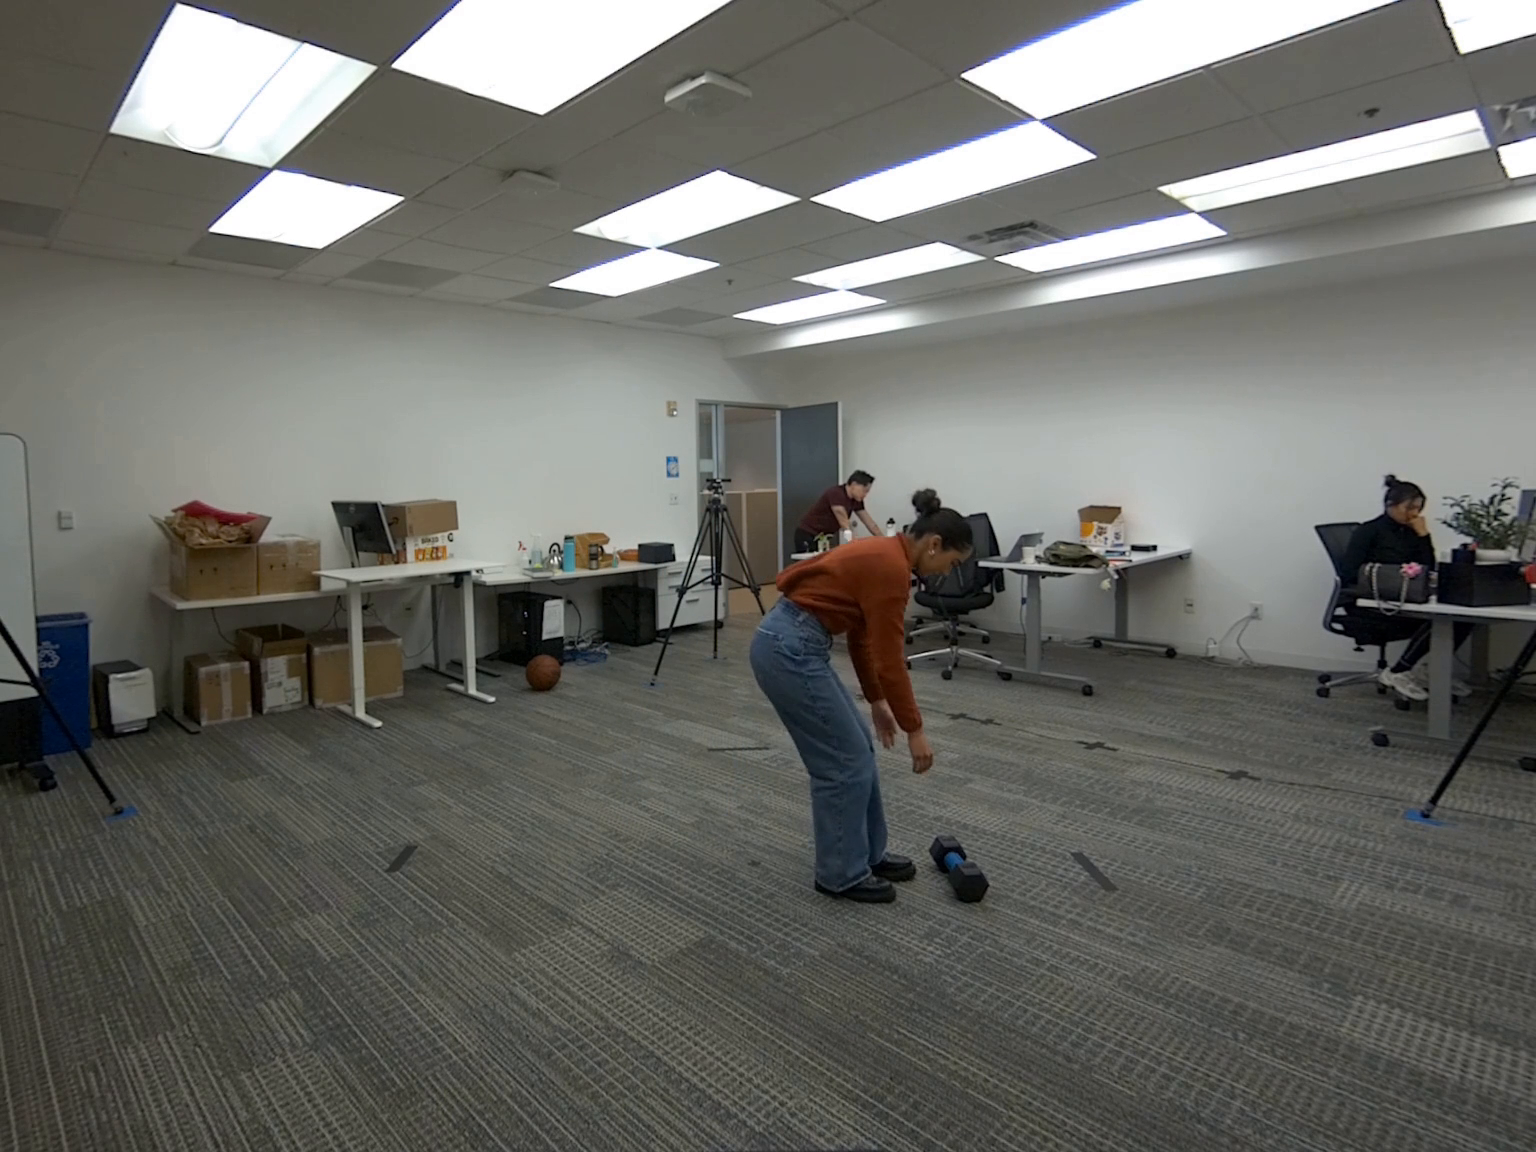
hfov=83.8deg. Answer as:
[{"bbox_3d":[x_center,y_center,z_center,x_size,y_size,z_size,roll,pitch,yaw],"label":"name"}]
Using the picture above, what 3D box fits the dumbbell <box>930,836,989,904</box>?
[{"bbox_3d":[0.647,0.994,2.919,0.108,0.122,0.296,-31,9,-2],"label":"dumbbell"}]
